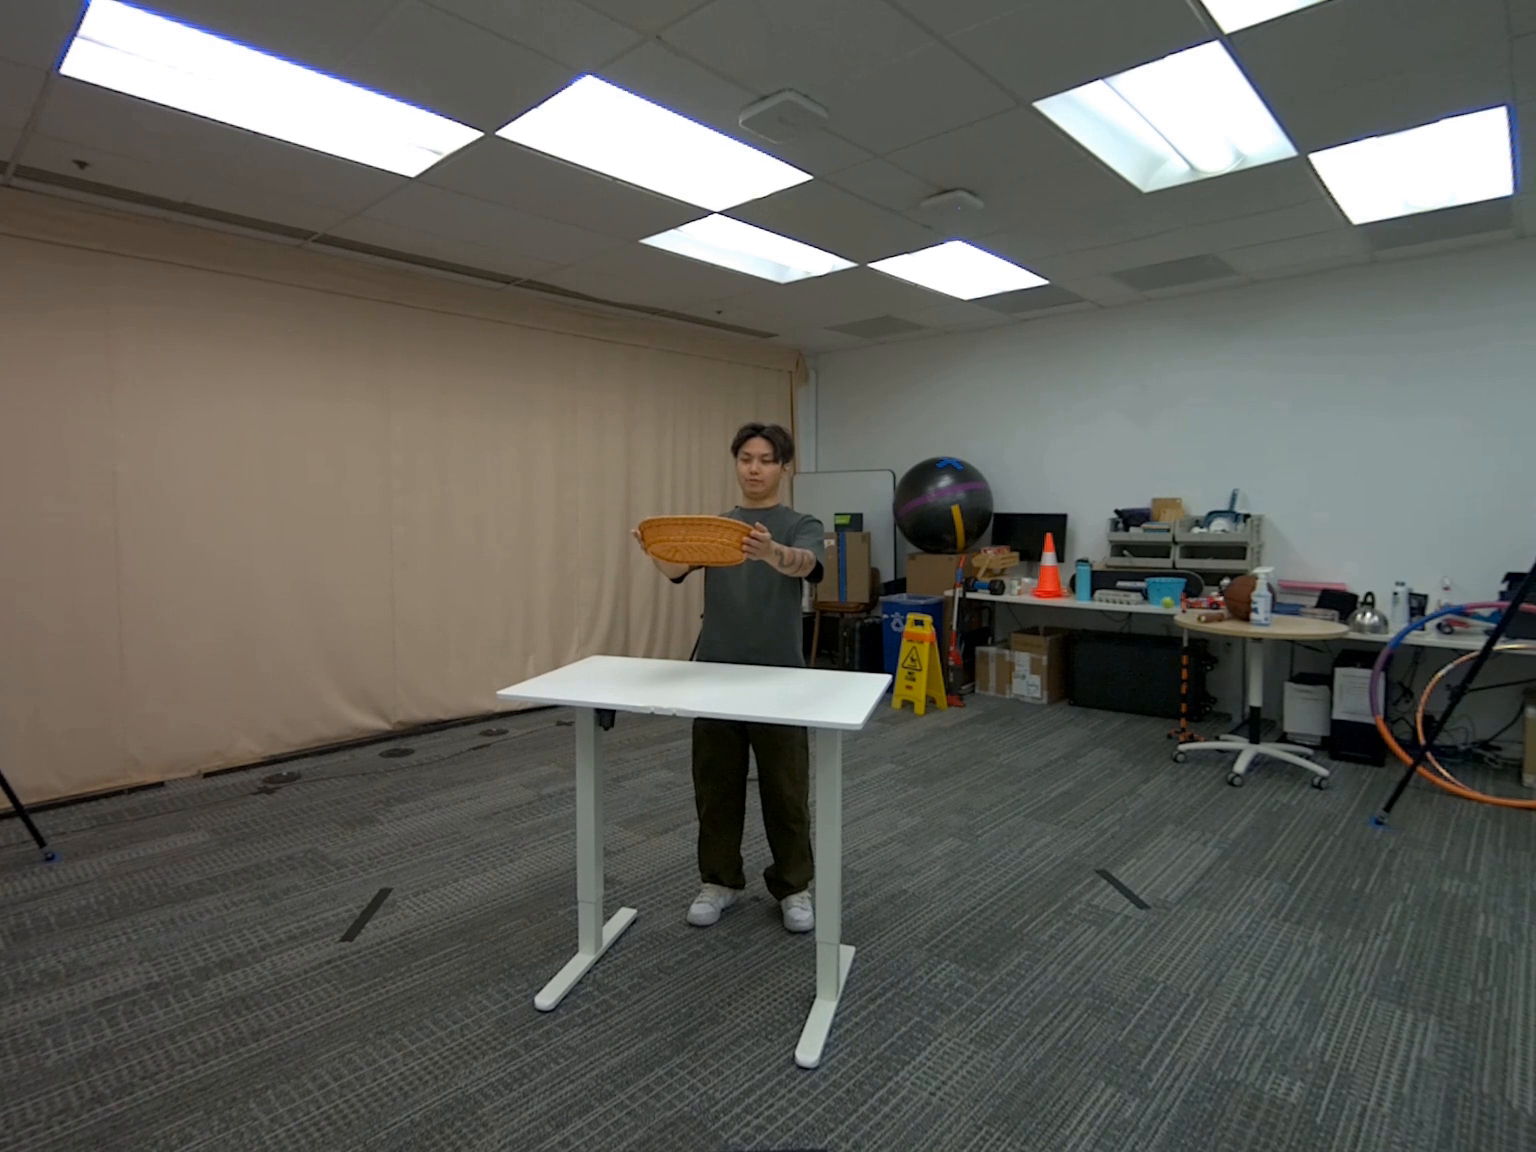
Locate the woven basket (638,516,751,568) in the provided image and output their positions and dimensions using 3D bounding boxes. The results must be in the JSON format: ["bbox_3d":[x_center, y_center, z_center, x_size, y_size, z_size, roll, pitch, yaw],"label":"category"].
[{"bbox_3d":[-0.187,-0.085,2.360,0.360,0.074,0.243,-3,-19,32],"label":"woven basket"}]
